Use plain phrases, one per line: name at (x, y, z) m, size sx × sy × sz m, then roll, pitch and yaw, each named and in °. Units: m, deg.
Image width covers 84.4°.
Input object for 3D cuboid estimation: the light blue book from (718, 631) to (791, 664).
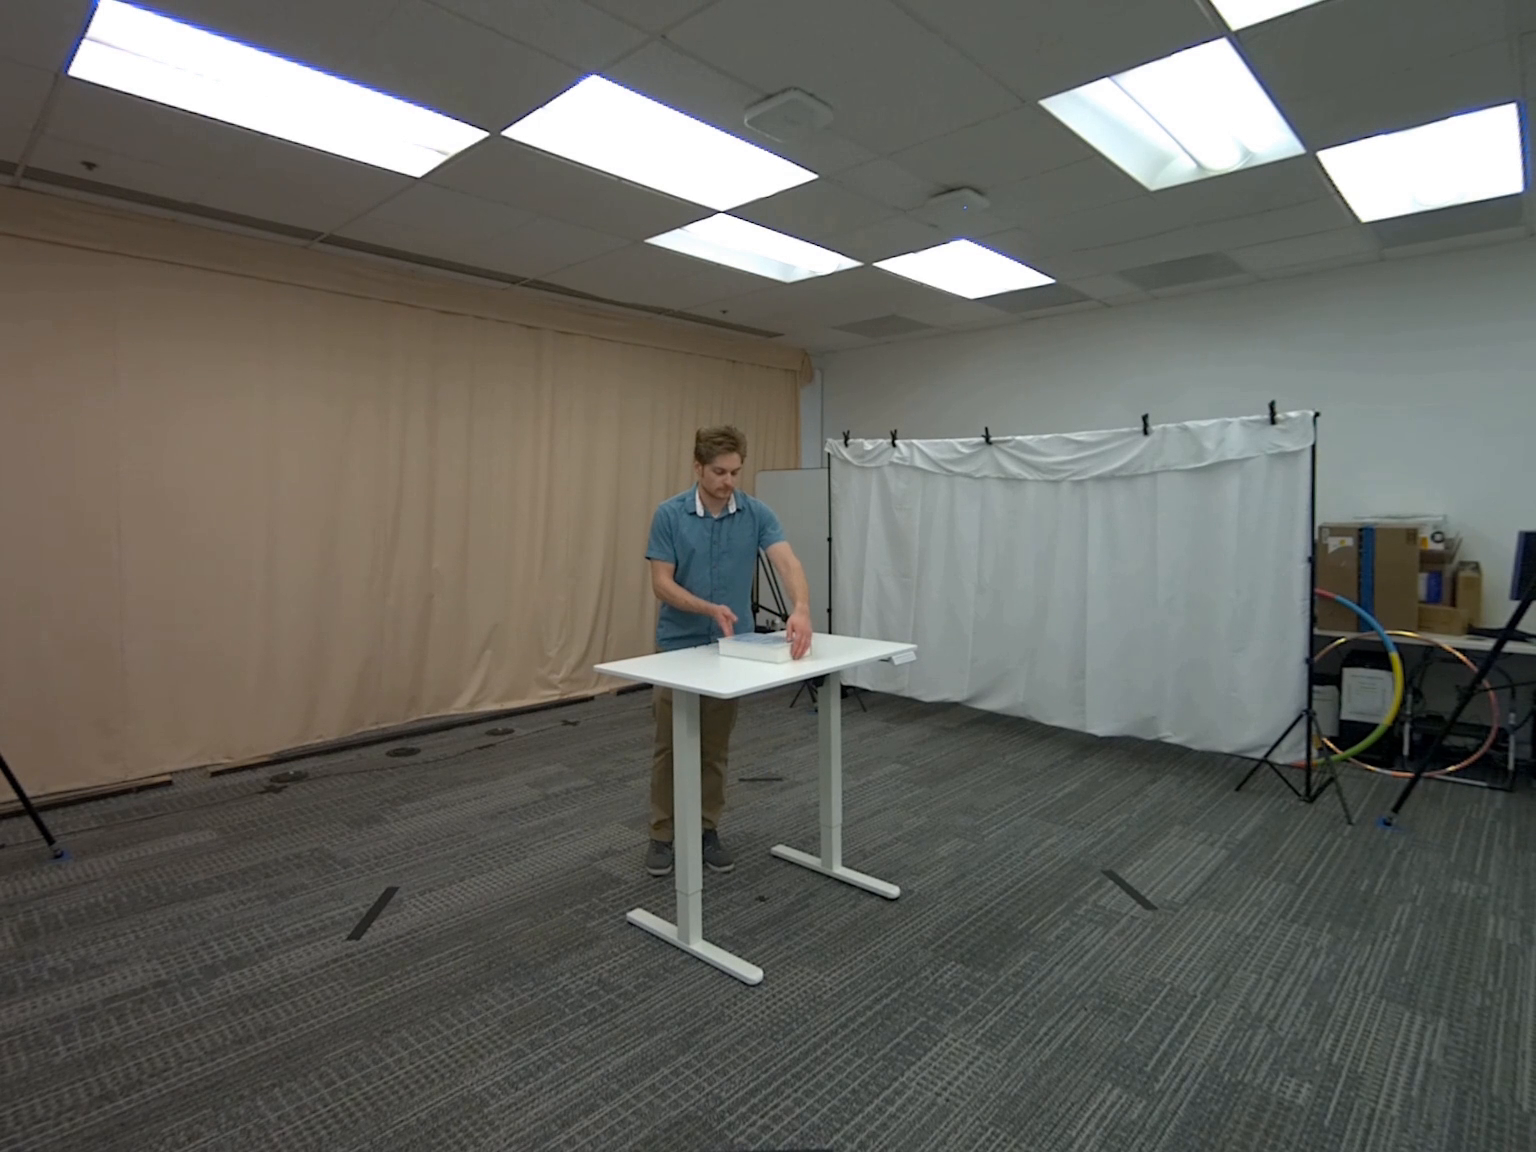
light blue book at (-0.013, 0.246, 2.868) m, size 0.270 × 0.059 × 0.185 m, roll 4°, pitch 5°, yaw 40°
